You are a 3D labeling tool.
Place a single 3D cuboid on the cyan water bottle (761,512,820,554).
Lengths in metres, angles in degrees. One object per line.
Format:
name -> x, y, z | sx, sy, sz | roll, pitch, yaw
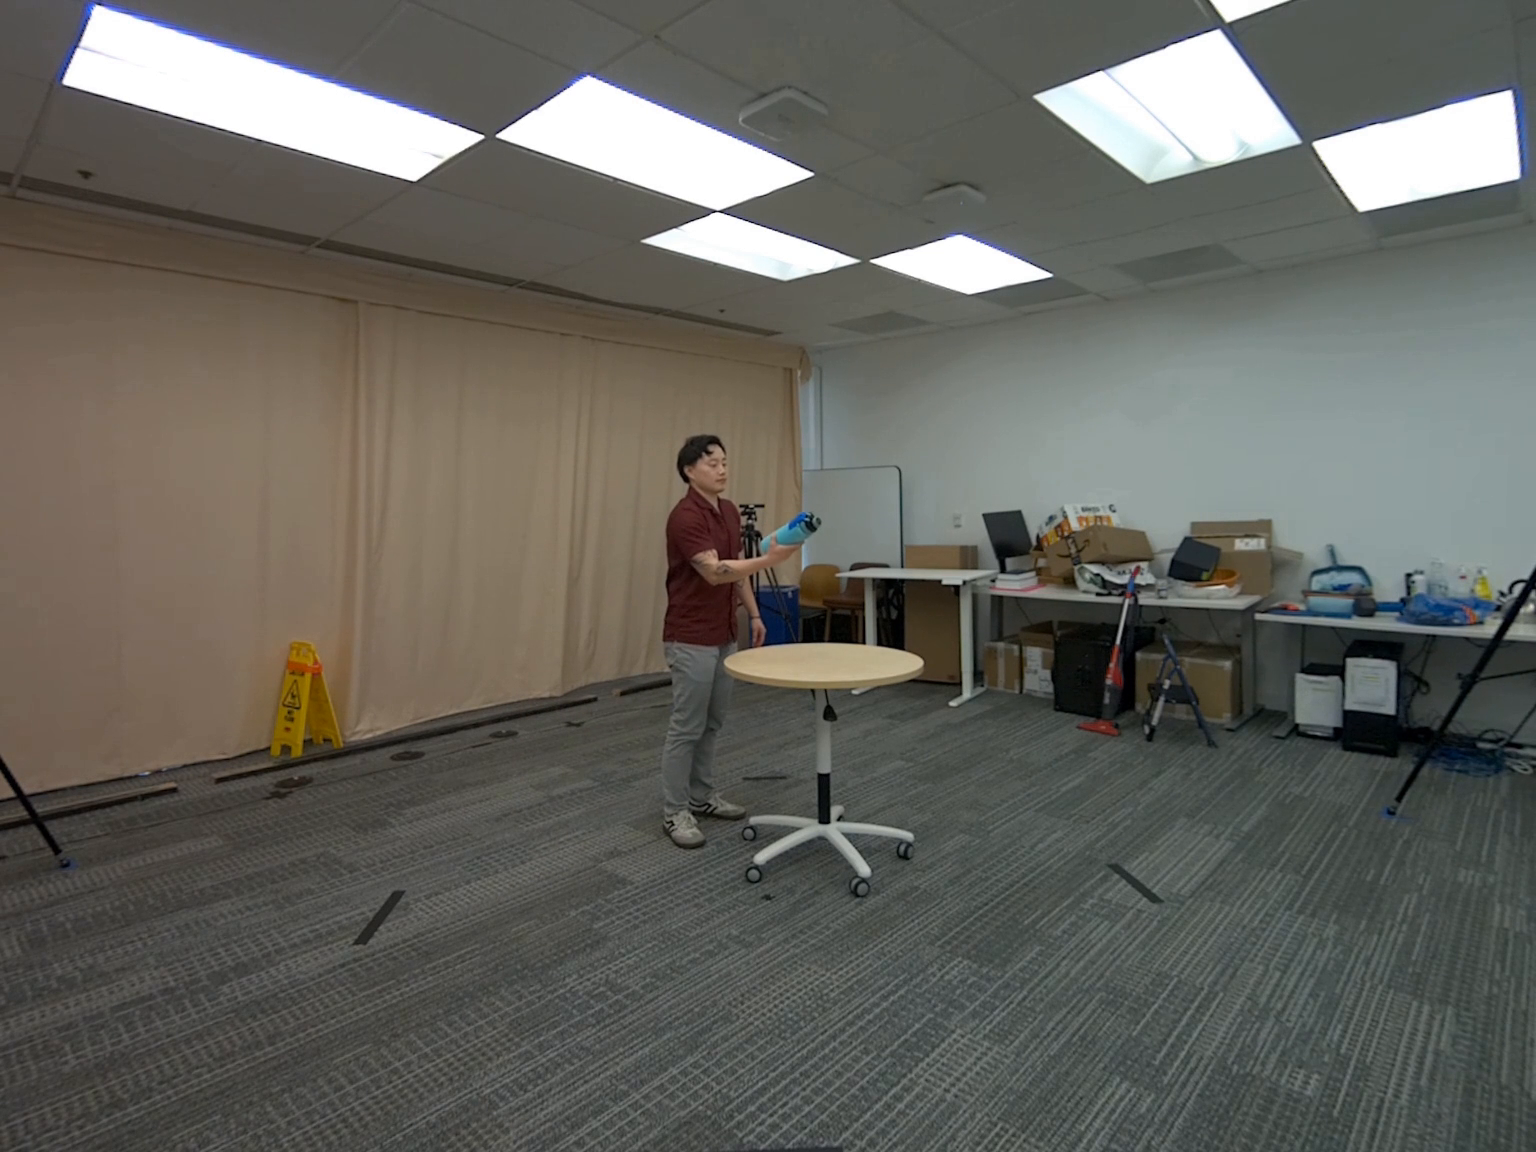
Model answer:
cyan water bottle -> 0.092, -0.164, 3.257 | 0.089, 0.093, 0.288 | -4, -19, -43
